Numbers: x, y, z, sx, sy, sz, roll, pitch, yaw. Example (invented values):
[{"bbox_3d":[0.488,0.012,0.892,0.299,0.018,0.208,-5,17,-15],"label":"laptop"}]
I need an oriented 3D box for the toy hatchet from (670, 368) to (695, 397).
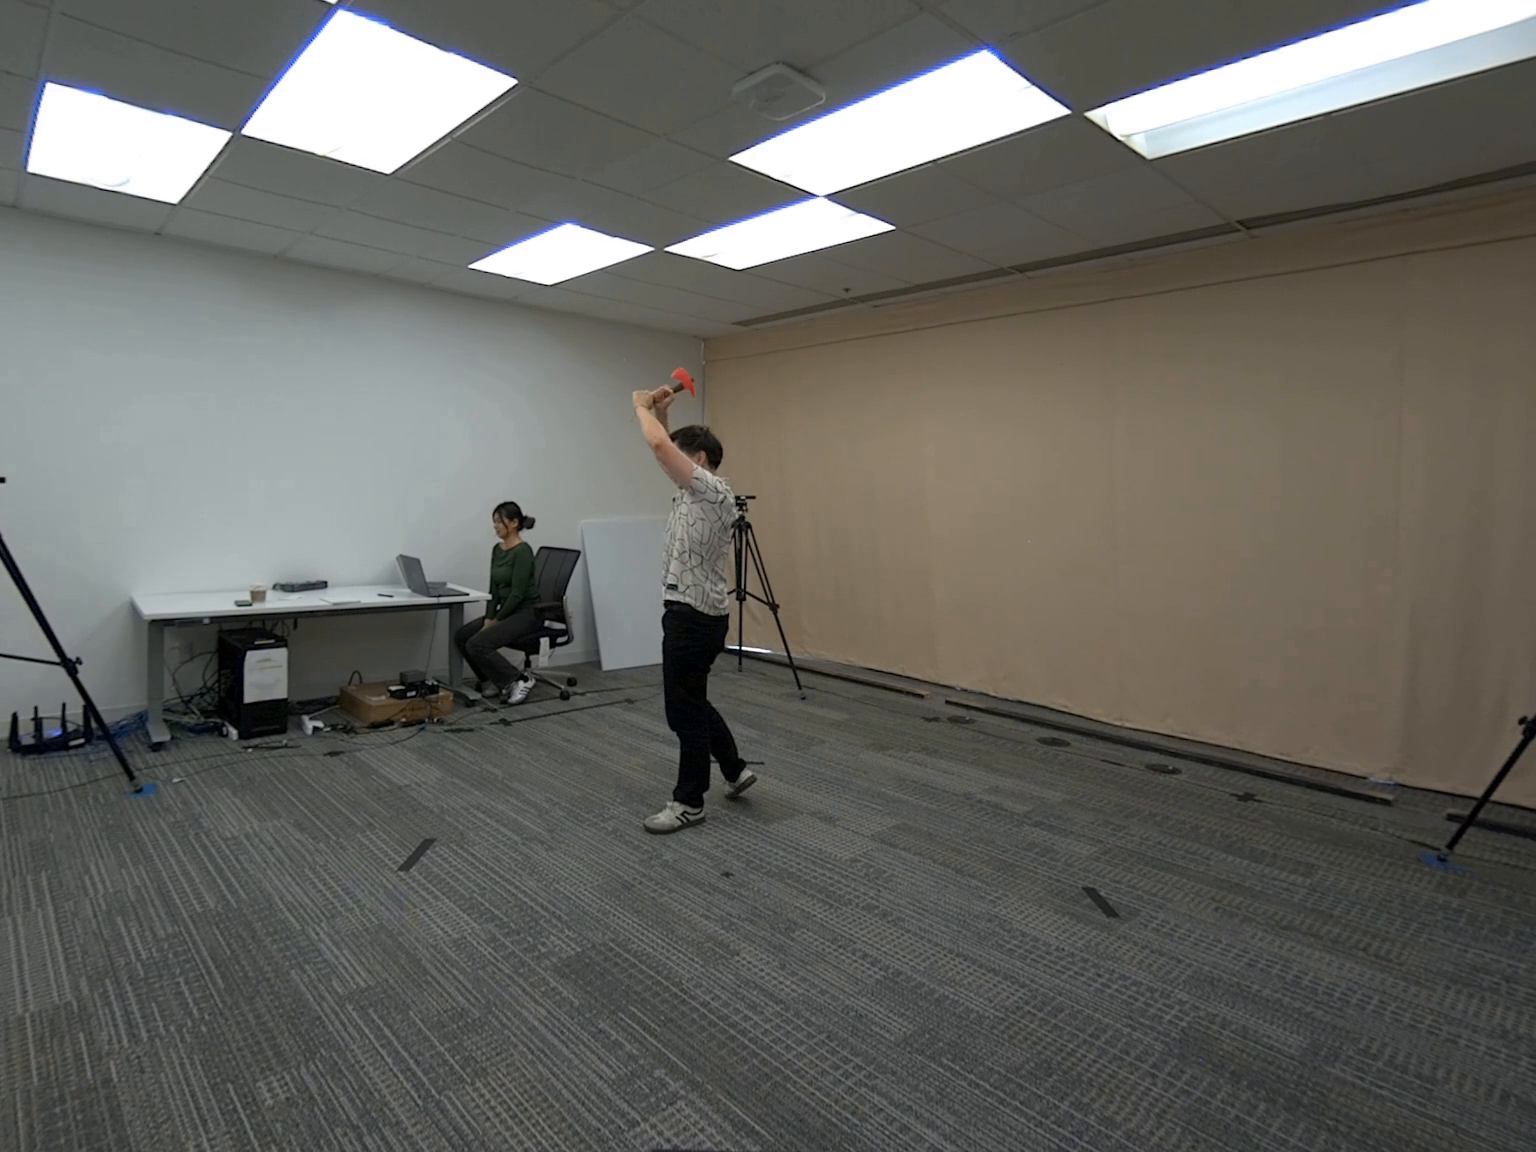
[{"bbox_3d":[-0.450,-0.806,3.532,0.268,0.129,0.030,-7,16,-10],"label":"toy hatchet"}]
